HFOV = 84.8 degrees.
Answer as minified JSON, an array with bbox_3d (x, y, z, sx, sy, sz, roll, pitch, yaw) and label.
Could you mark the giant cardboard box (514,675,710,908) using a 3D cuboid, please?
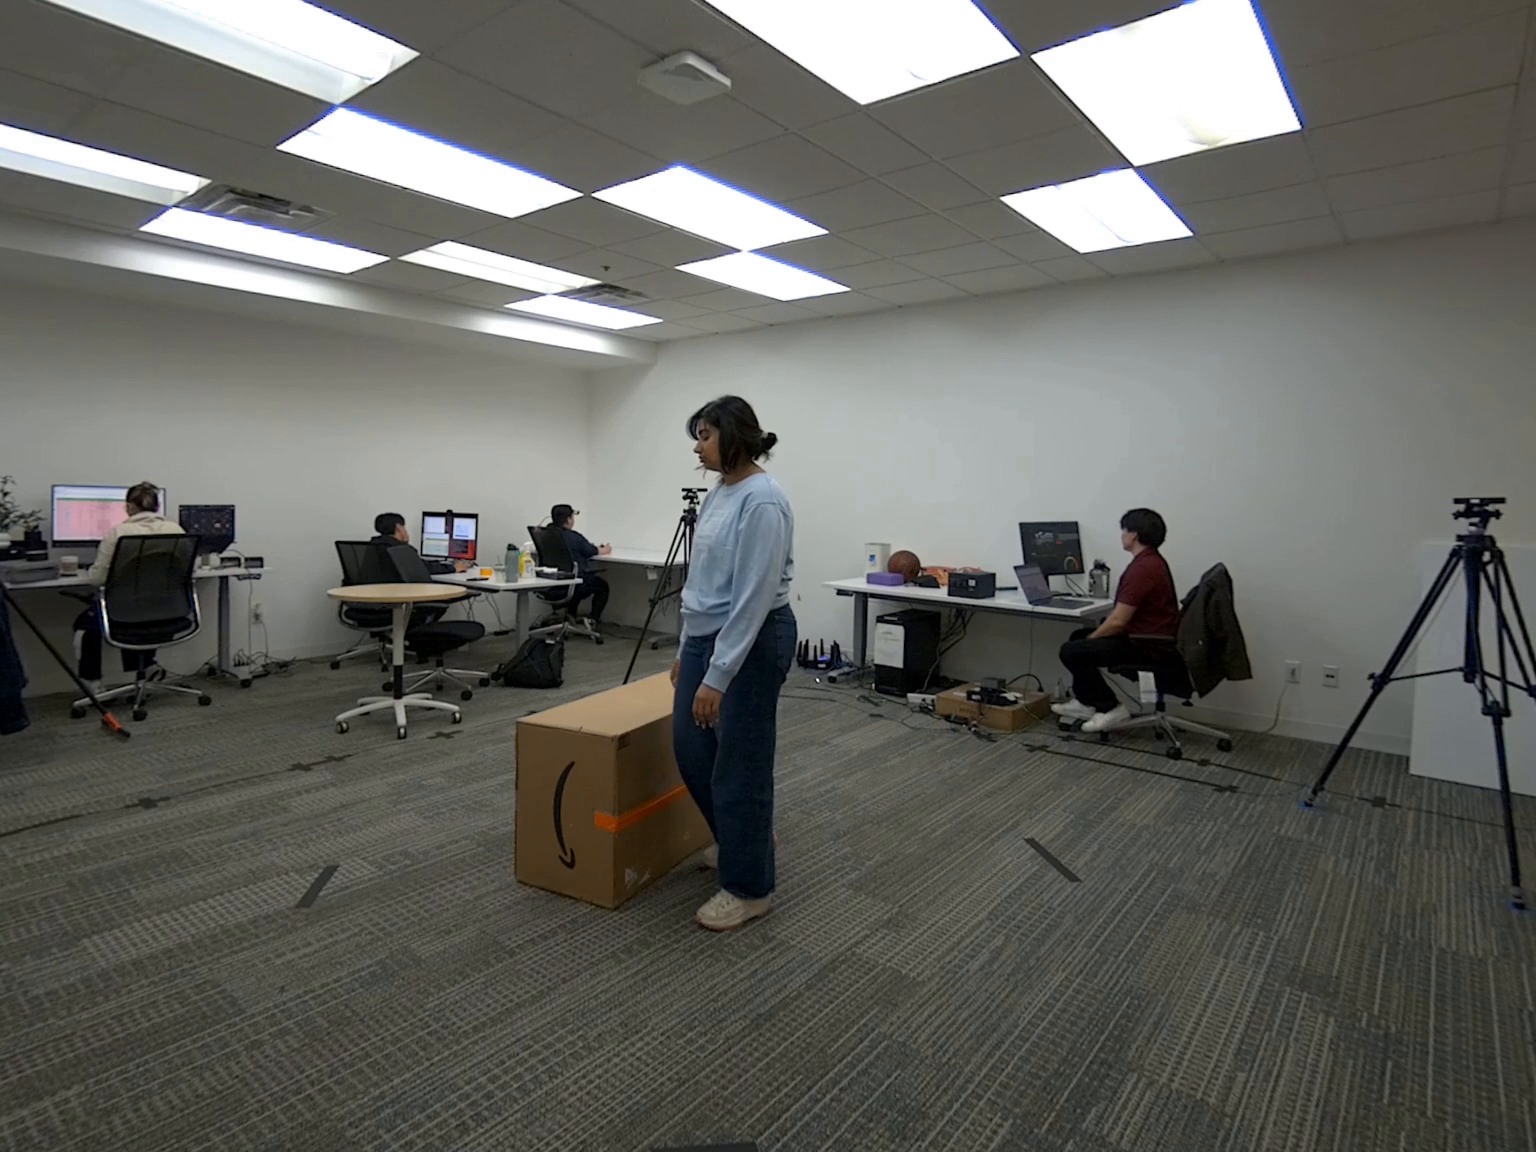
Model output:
[{"bbox_3d":[-0.491,0.758,3.321,0.459,0.582,1.003,2,5,26],"label":"giant cardboard box"}]
